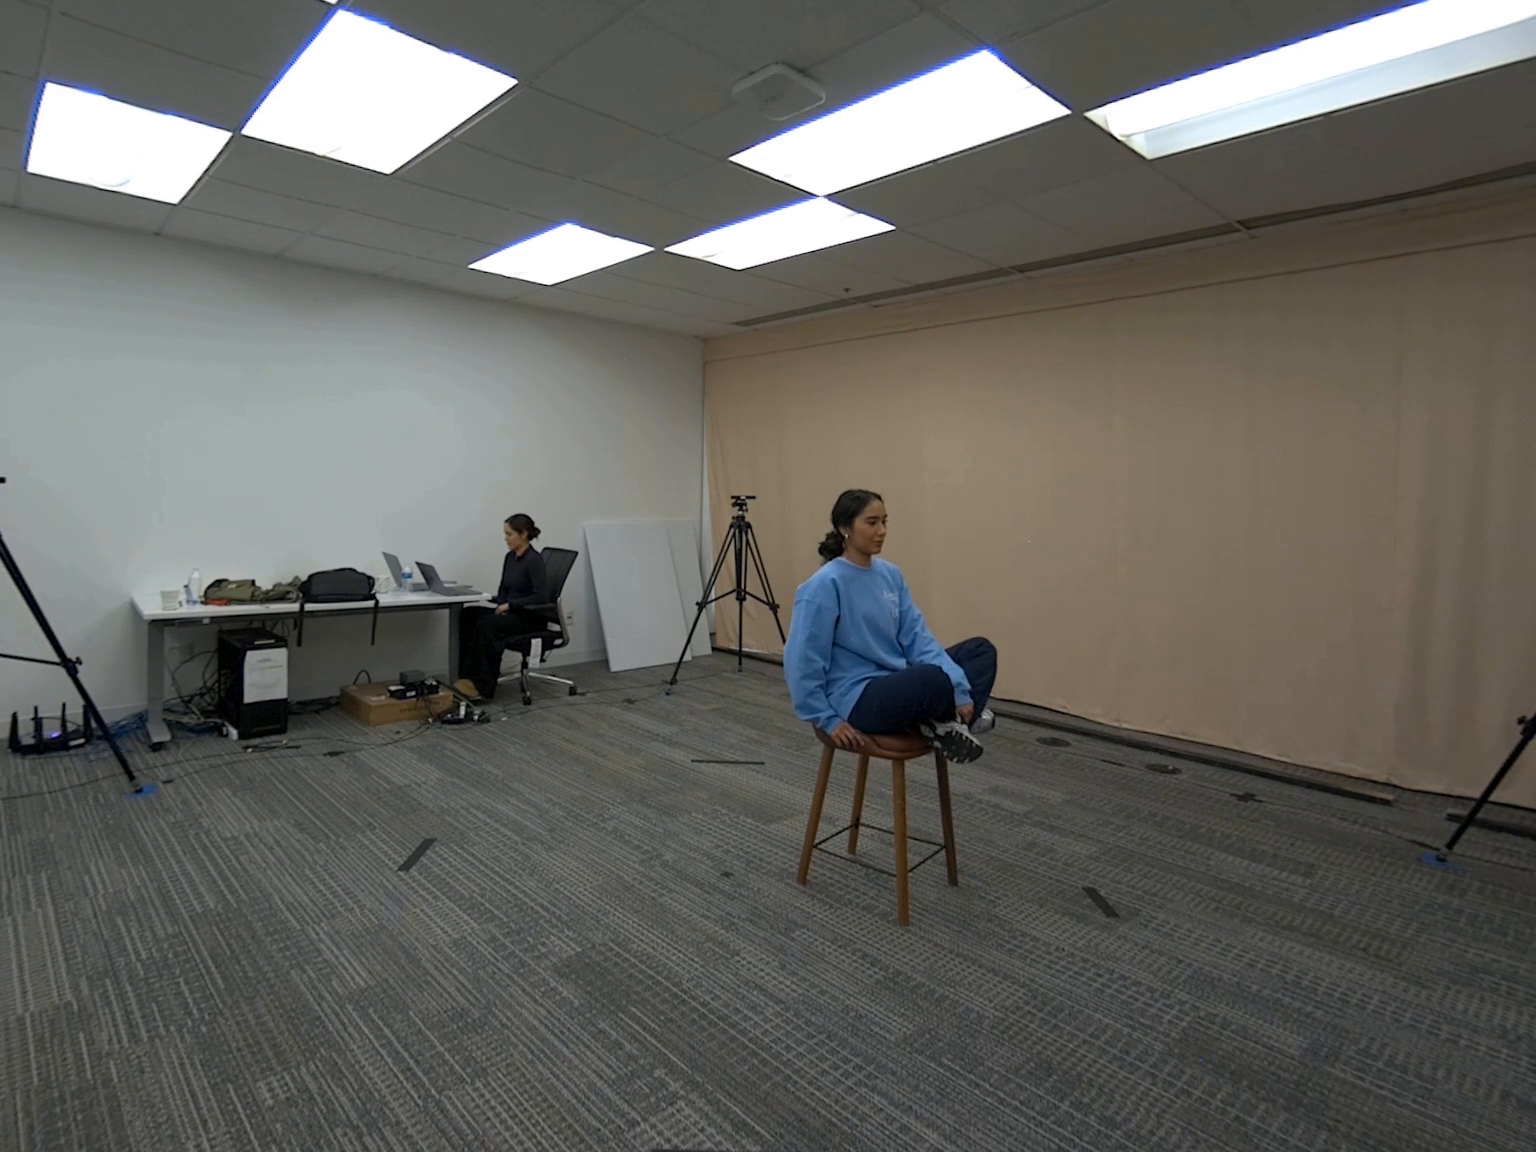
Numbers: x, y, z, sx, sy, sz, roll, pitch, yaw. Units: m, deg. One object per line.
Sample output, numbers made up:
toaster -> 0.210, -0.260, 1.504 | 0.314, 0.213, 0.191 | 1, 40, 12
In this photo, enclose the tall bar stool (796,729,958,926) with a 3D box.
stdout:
tall bar stool -> 0.395, 0.688, 3.033 | 0.479, 0.889, 0.446 | 2, 2, 39
